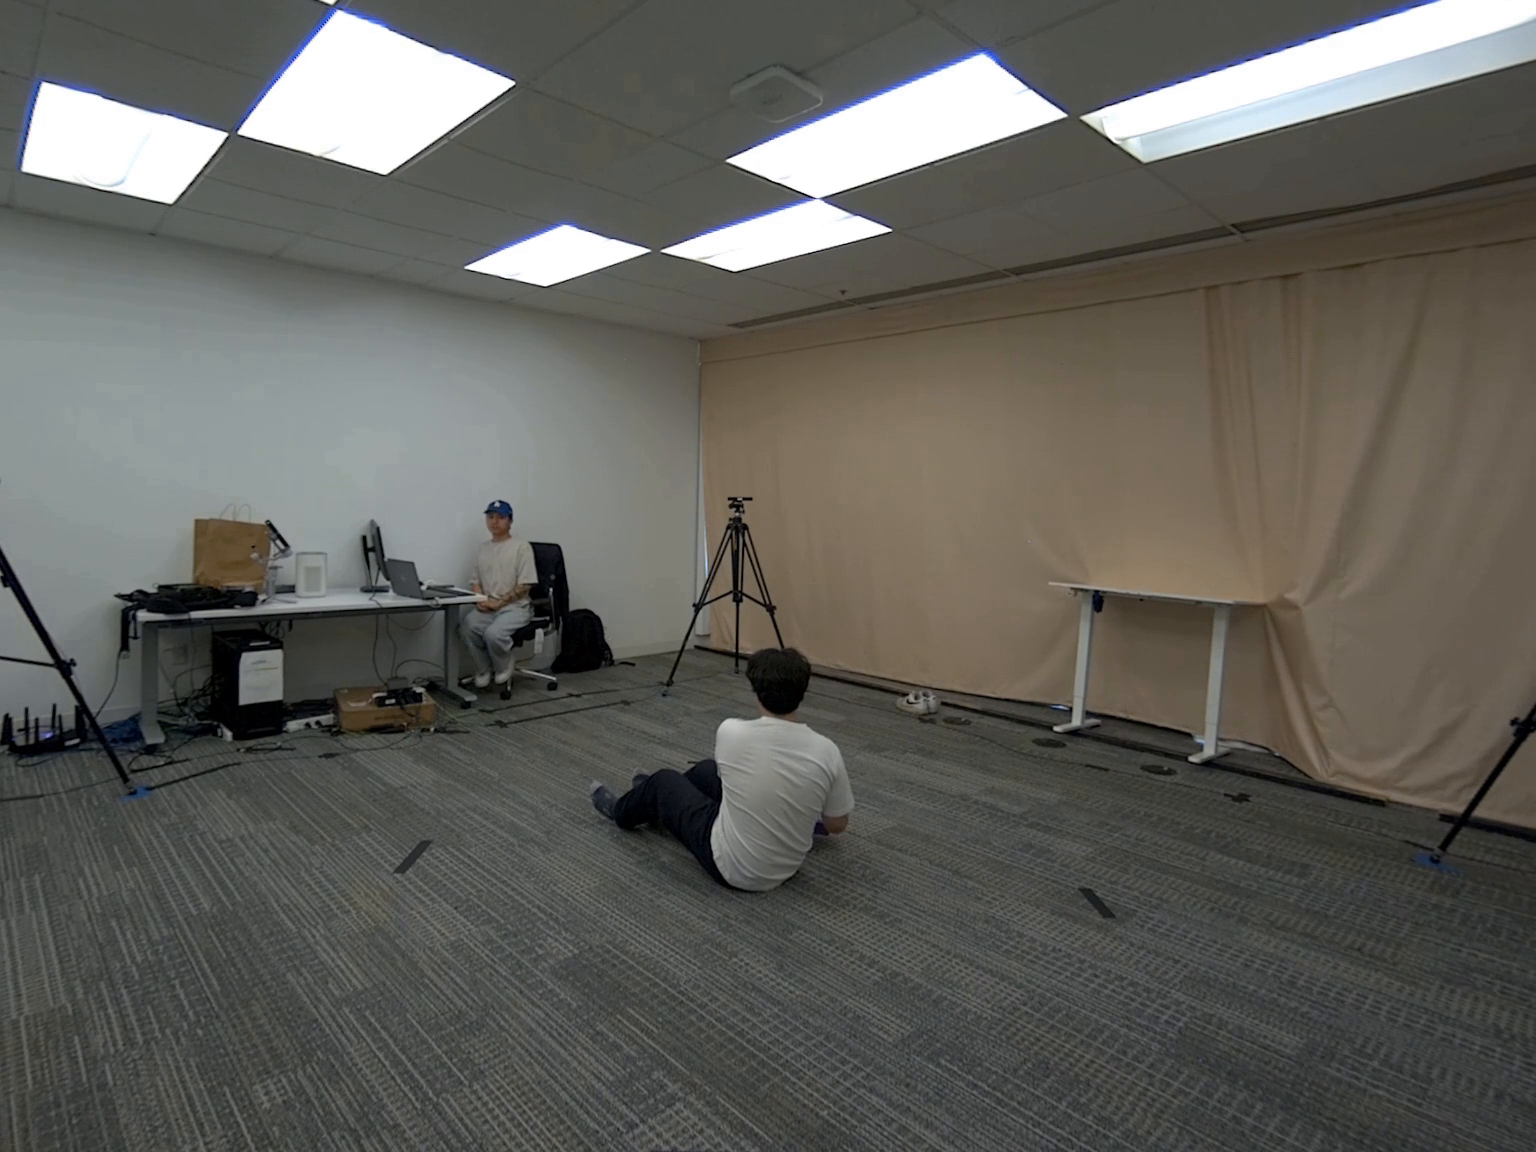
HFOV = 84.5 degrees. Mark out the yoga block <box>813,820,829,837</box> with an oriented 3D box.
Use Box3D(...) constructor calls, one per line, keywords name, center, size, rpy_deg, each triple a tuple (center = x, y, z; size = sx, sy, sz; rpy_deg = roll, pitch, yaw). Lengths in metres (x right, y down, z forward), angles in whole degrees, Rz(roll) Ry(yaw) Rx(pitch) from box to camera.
Box3D(name="yoga block", center=(0.178, 0.949, 3.459), size=(0.149, 0.075, 0.232), rpy_deg=(7, 24, 4))
